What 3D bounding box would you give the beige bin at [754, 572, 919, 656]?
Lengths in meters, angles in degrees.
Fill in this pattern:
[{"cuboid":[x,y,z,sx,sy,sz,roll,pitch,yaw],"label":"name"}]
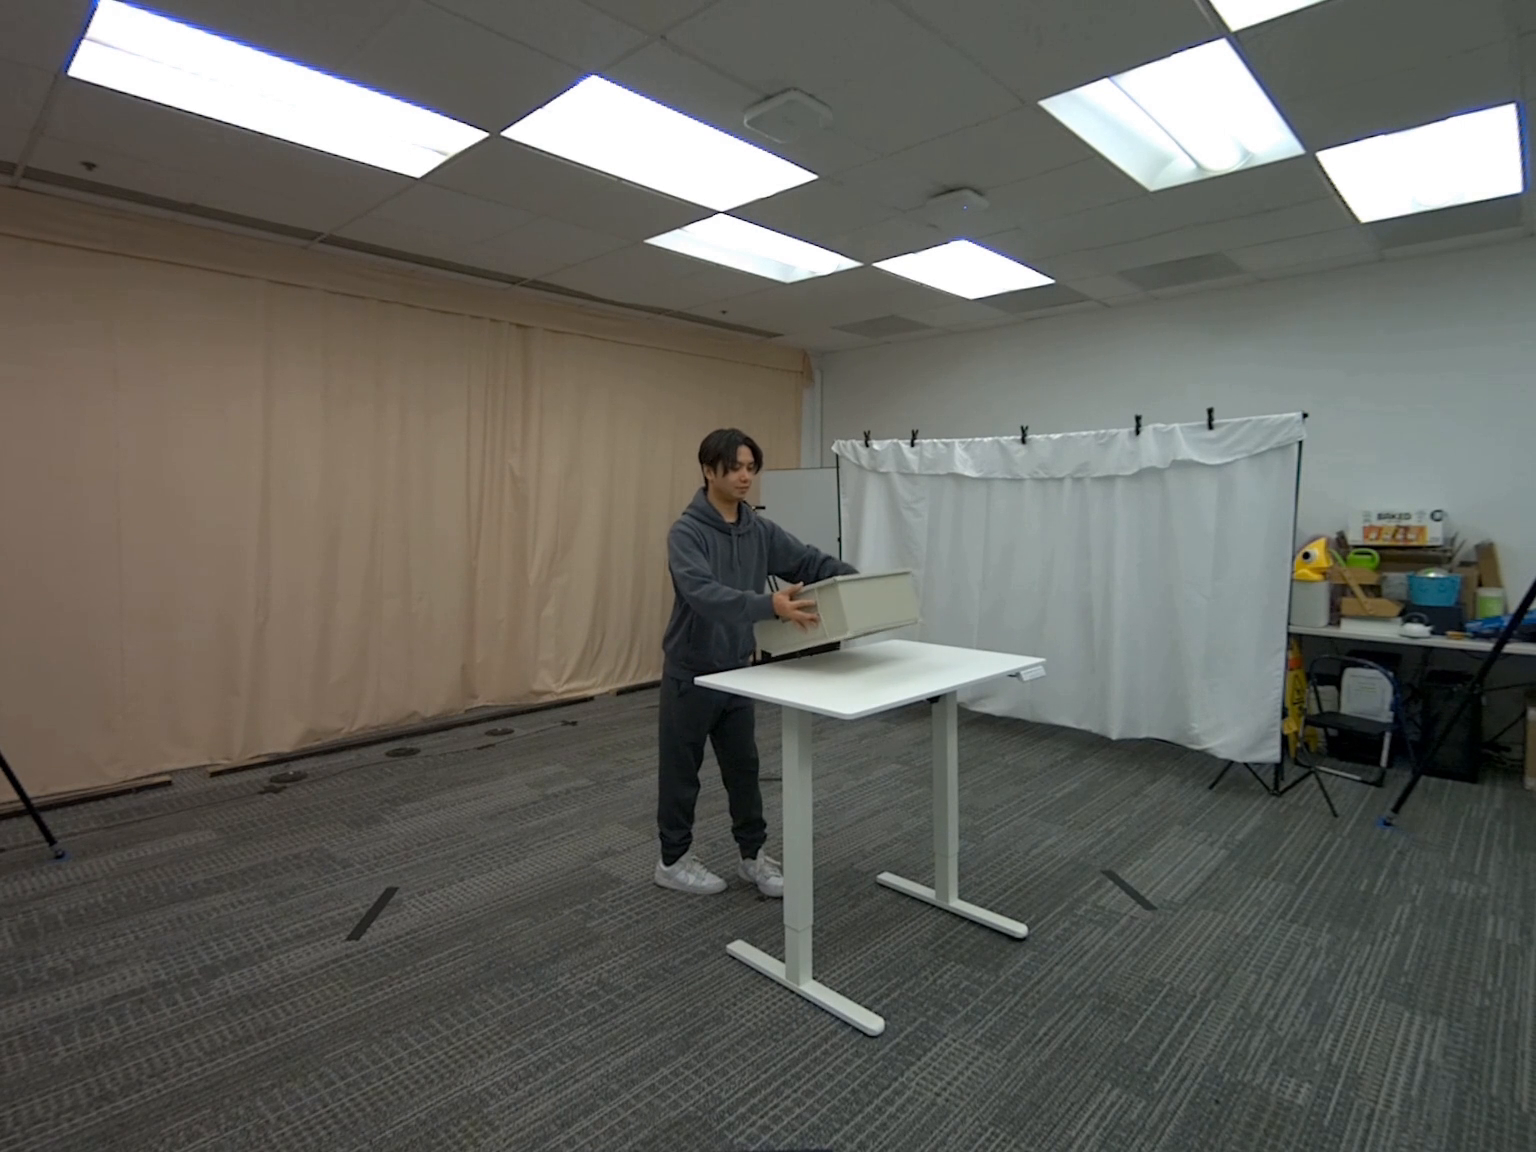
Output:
[{"cuboid":[0.229,0.126,2.724,0.409,0.190,0.387,-5,-8,-45],"label":"beige bin"}]
